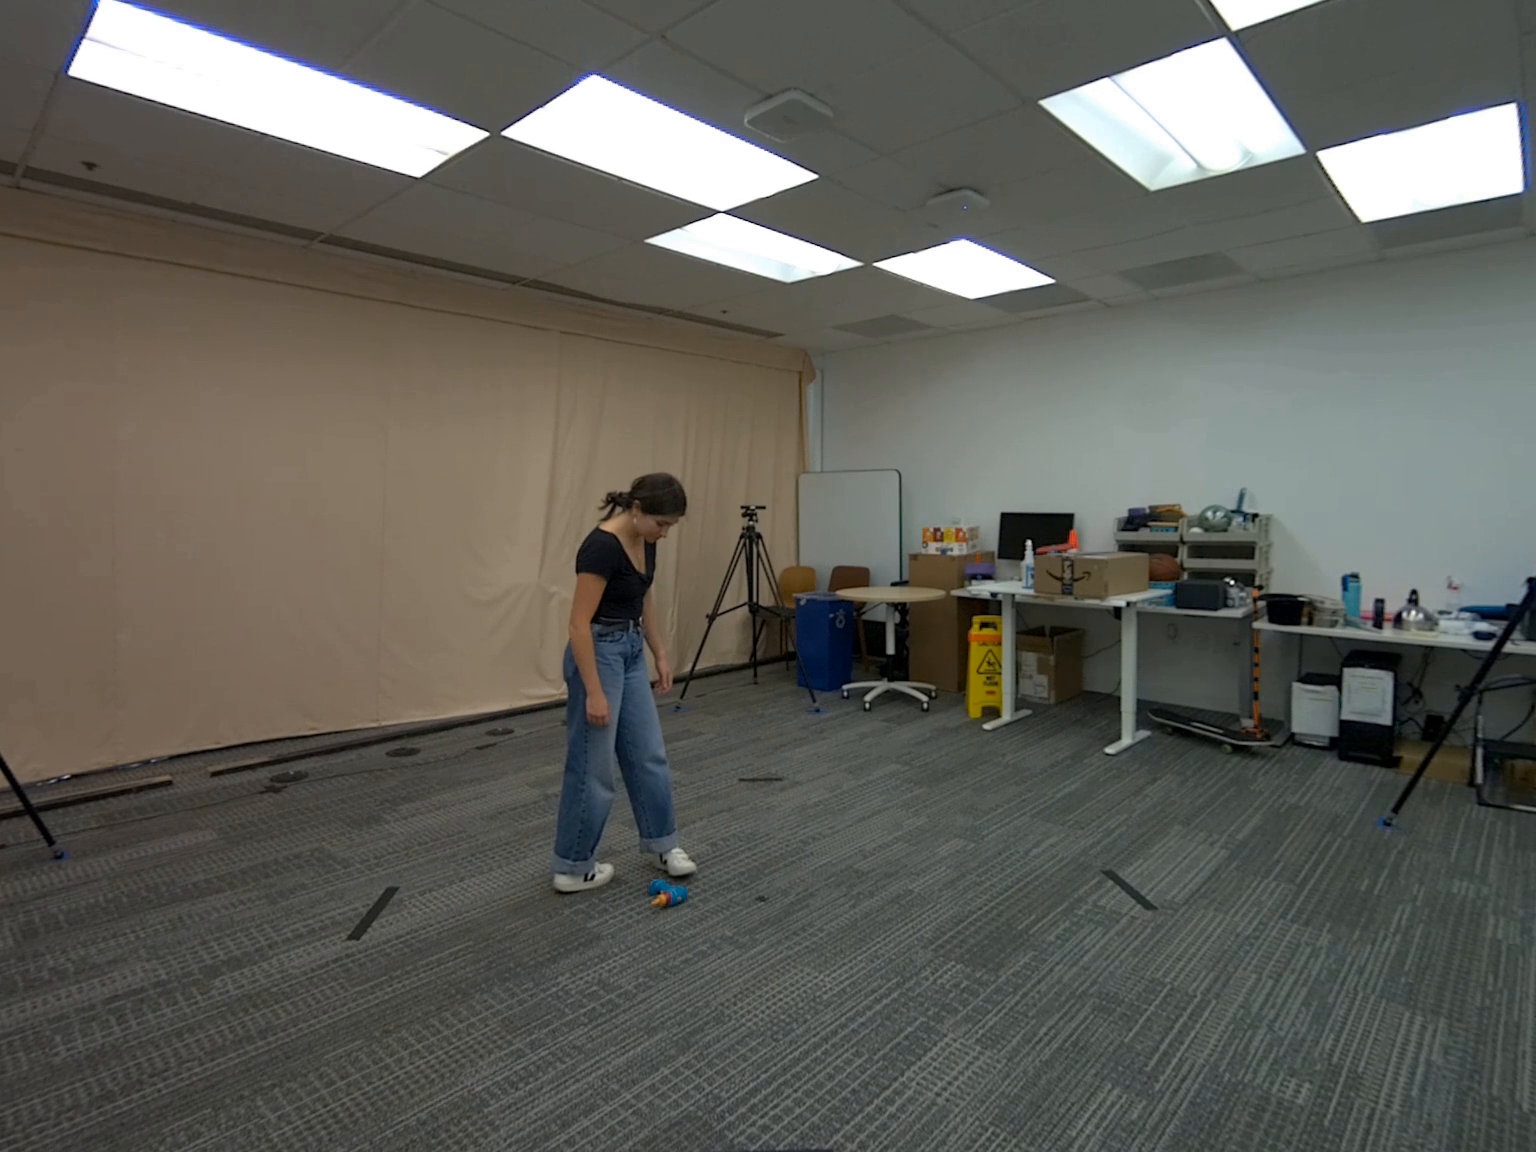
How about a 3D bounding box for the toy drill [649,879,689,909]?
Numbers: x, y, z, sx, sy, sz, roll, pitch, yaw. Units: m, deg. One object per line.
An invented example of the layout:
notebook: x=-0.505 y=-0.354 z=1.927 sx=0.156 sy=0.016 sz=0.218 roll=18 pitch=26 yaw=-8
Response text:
toy drill: x=-0.364 y=1.127 z=2.951 sx=0.151 sy=0.061 sz=0.164 roll=2 pitch=2 yaw=39
